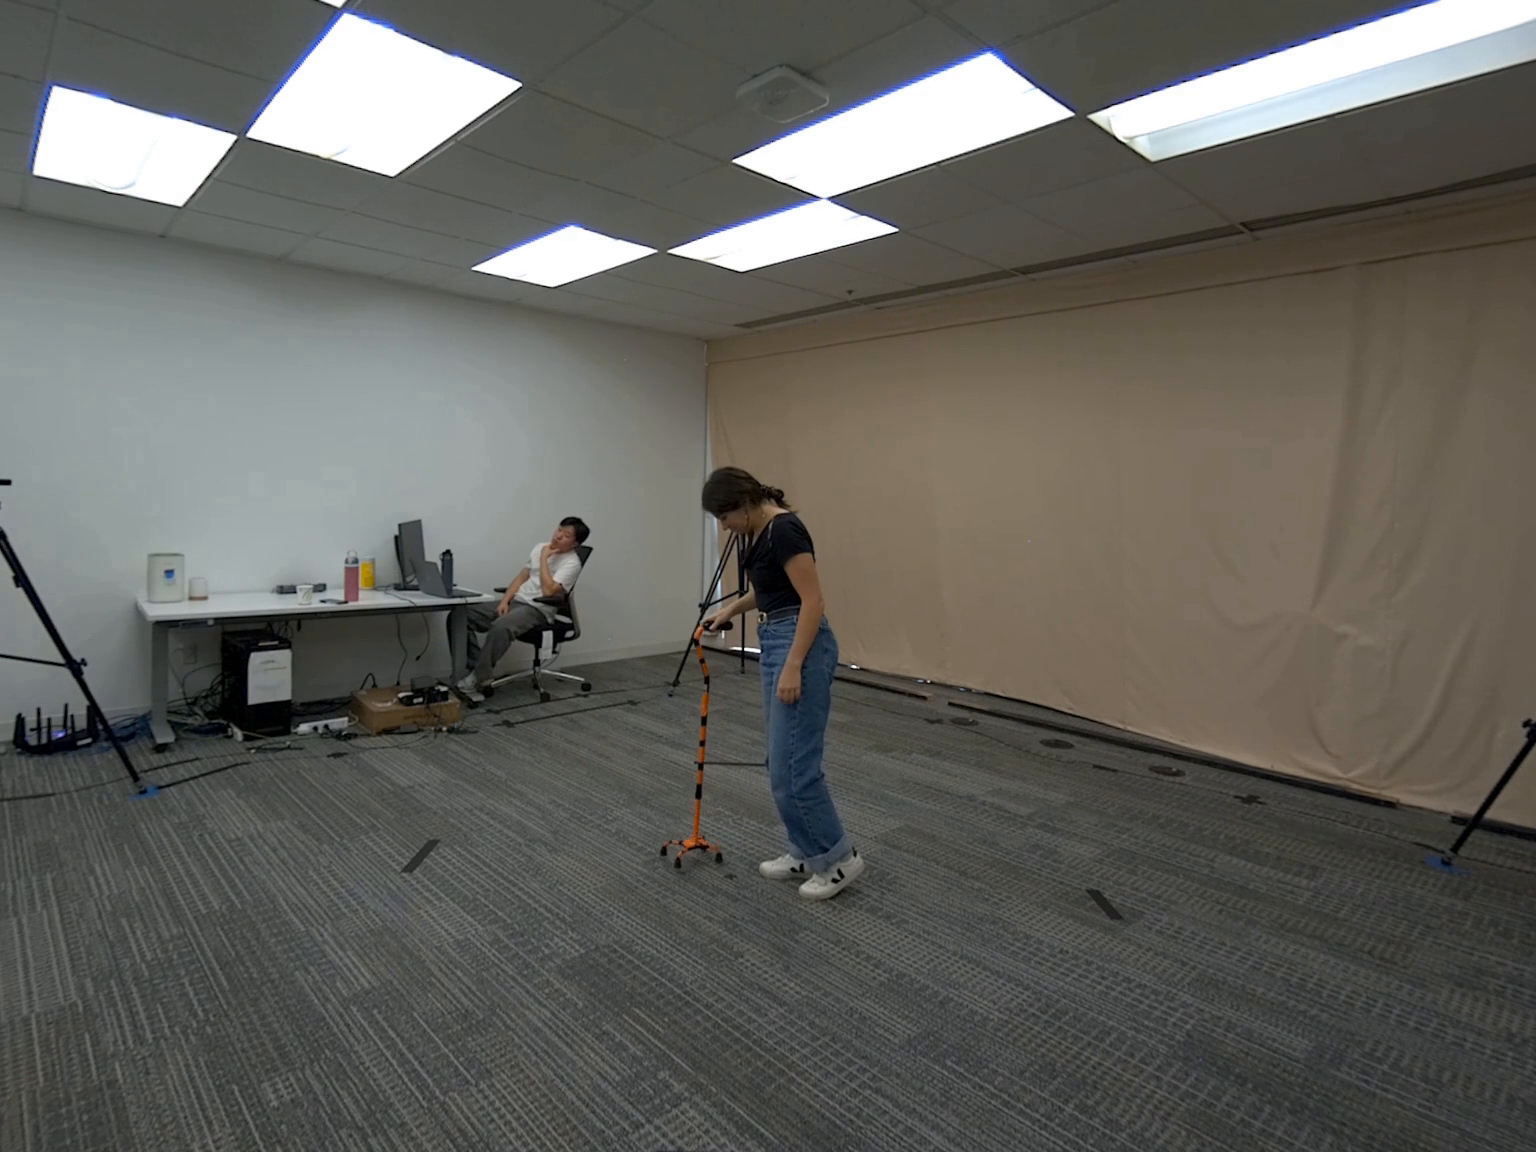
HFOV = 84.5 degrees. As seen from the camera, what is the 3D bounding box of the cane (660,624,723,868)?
[{"bbox_3d":[-0.259,0.629,3.215,0.202,0.907,0.155,2,2,-33],"label":"cane"}]
